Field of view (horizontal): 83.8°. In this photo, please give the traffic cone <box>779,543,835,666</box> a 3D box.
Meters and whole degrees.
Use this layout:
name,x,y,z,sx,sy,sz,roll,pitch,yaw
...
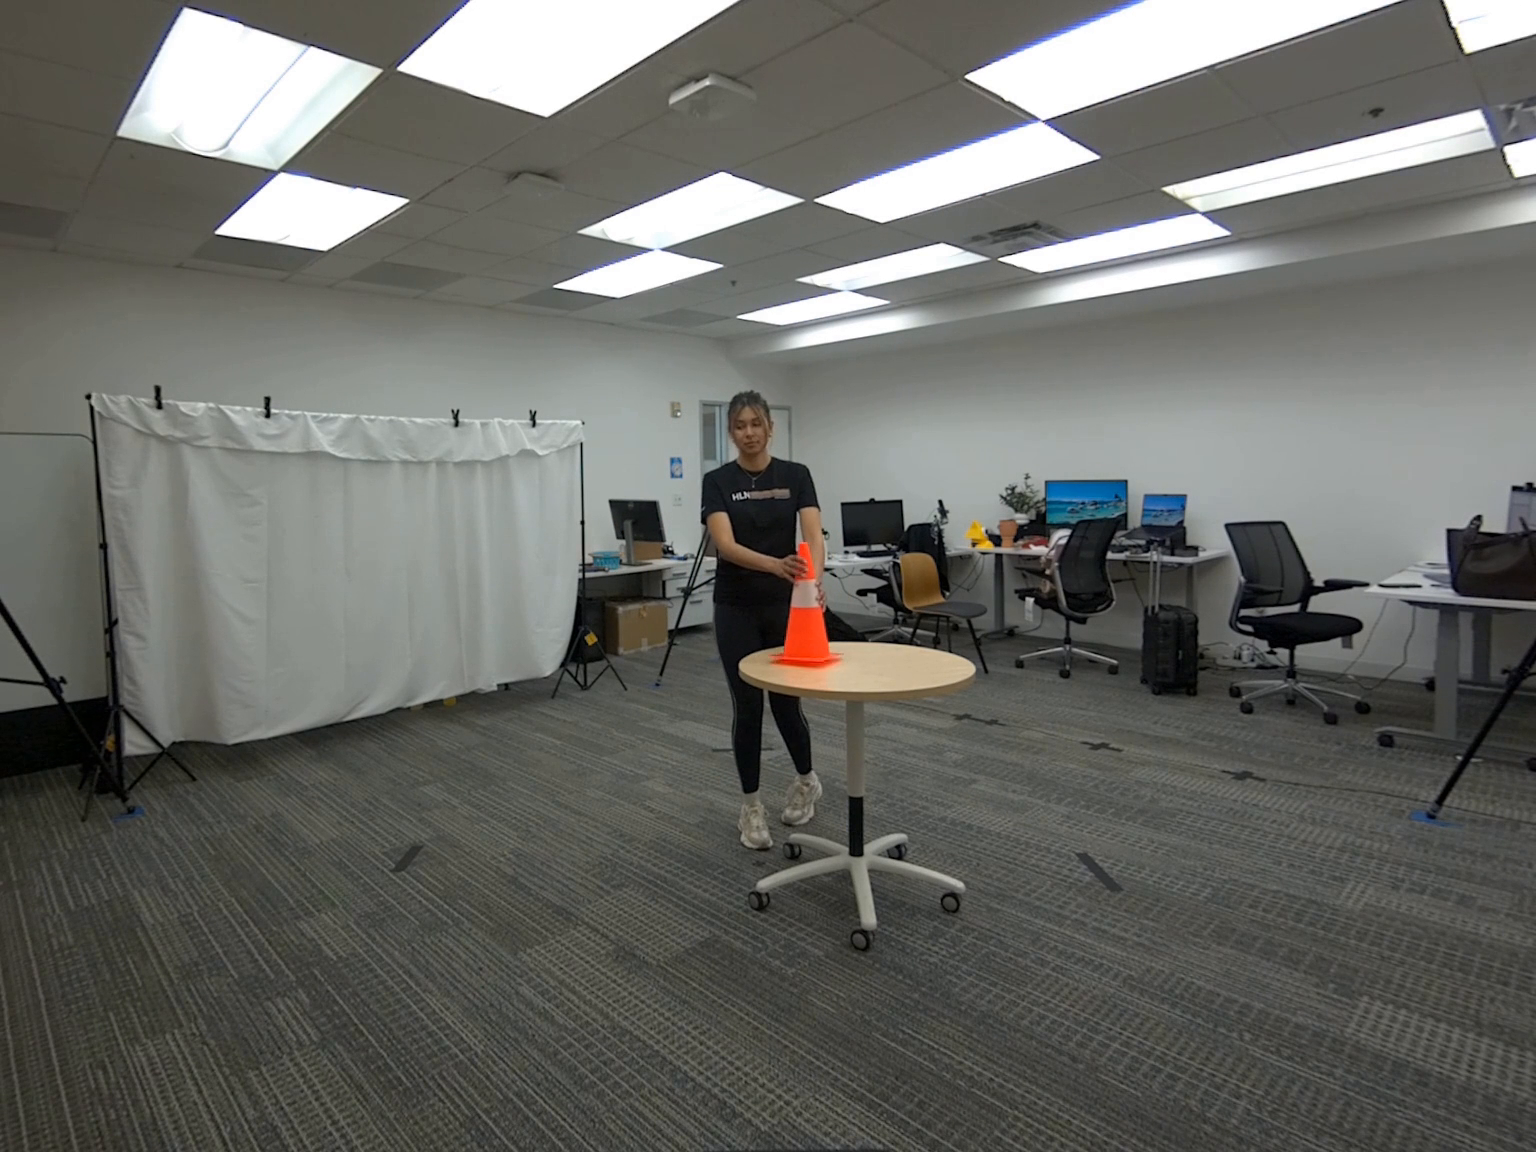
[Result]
name,x,y,z,sx,sy,sz,roll,pitch,yaw
traffic cone,0.124,0.080,2.870,0.211,0.383,0.198,1,3,44
